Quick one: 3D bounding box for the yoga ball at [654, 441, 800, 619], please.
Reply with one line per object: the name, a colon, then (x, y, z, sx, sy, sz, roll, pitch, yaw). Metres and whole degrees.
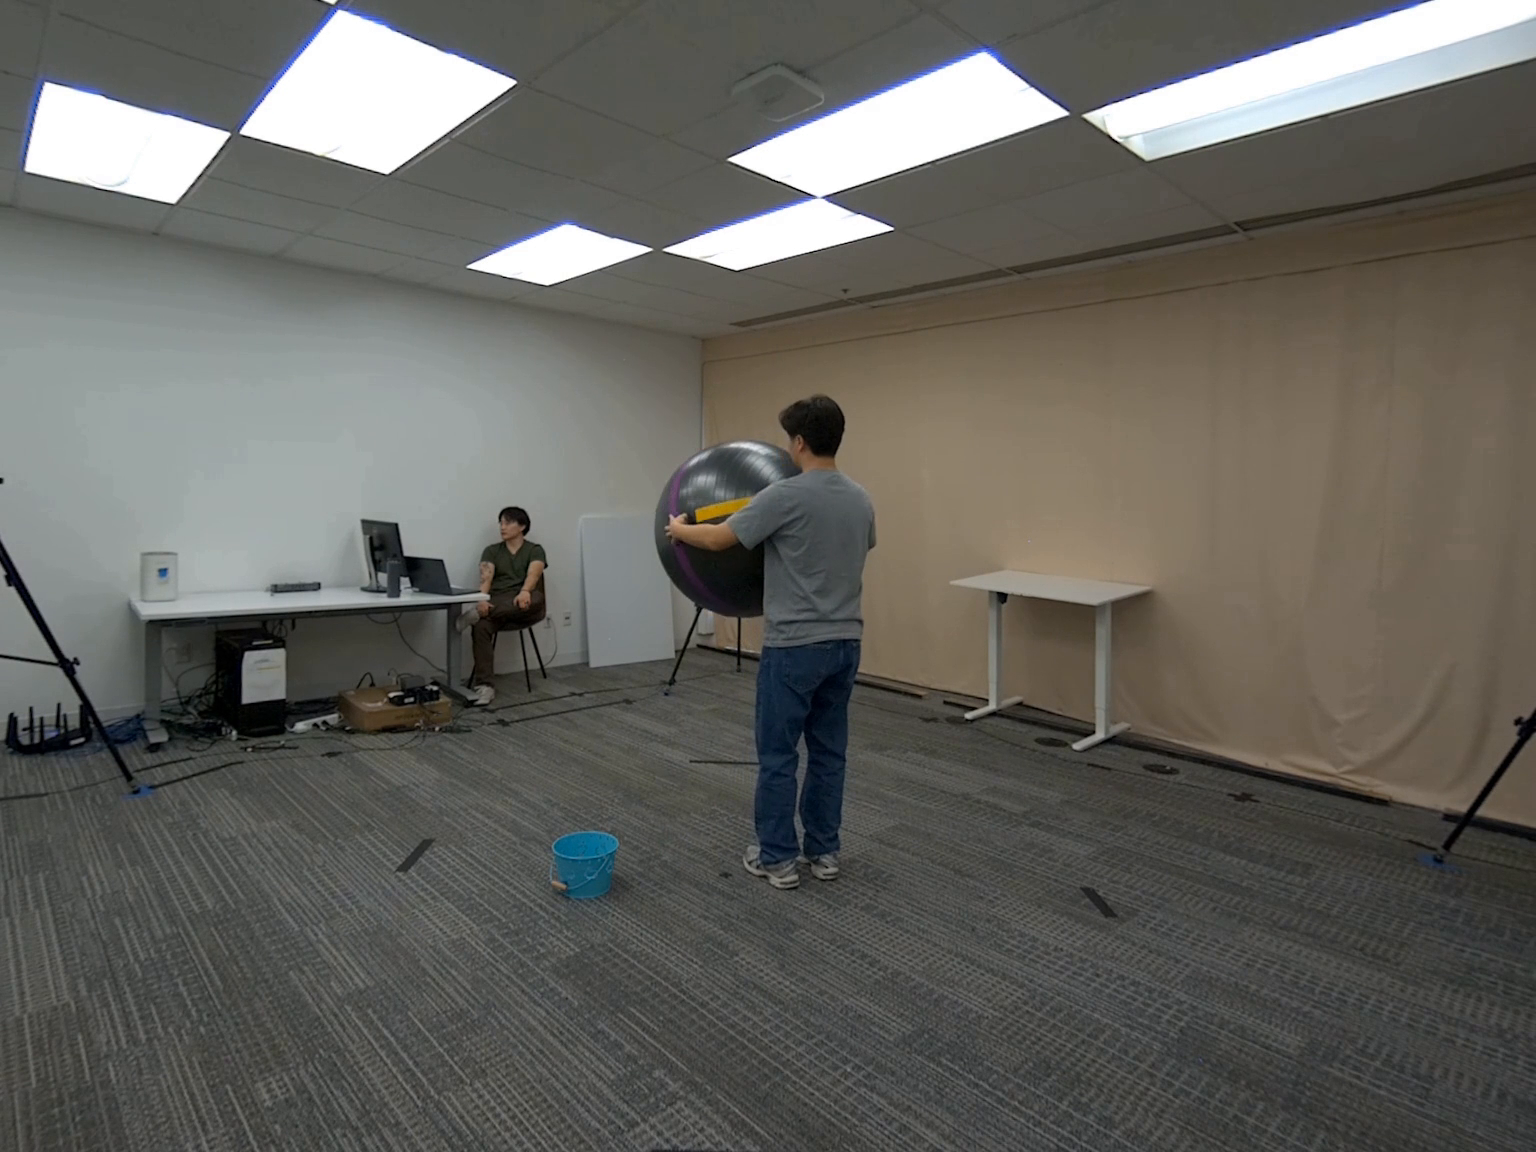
yoga ball: (-0.111, -0.195, 3.608, 0.757, 0.756, 0.761, 1, 4, -1)
